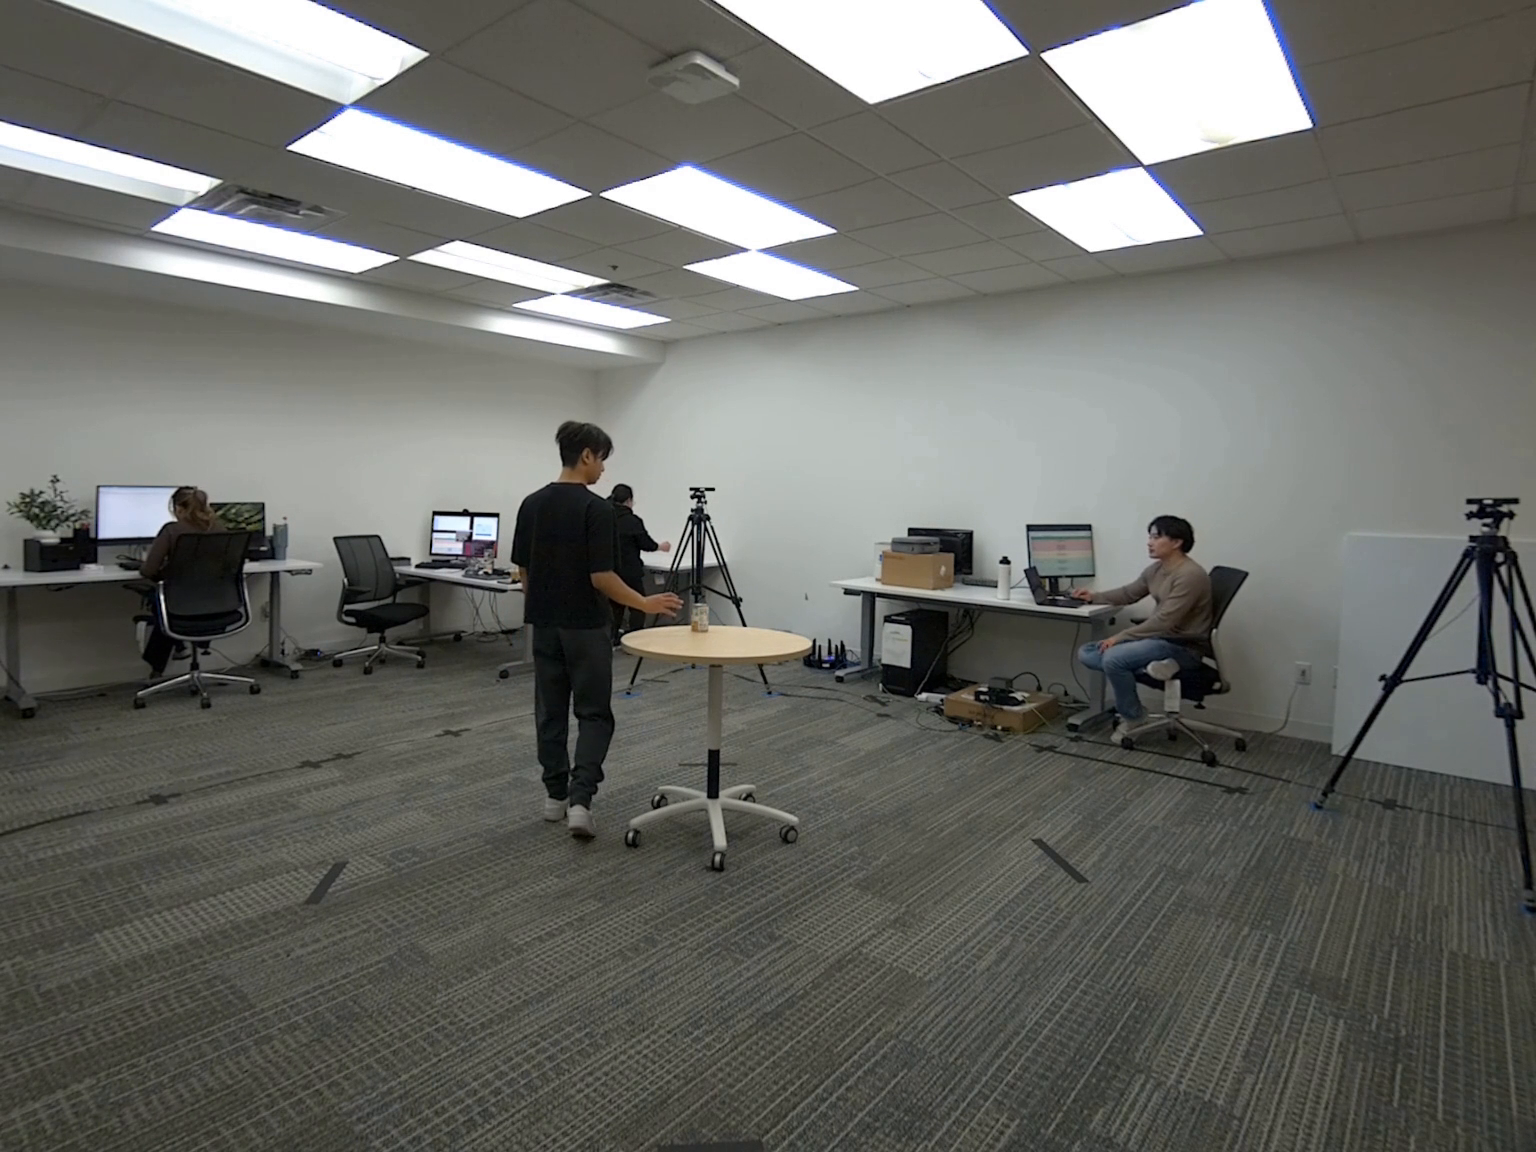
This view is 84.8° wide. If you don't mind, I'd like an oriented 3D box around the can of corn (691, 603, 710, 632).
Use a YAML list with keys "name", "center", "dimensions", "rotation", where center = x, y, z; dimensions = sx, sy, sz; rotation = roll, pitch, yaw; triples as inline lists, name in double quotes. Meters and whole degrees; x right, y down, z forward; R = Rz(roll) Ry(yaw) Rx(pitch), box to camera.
- name: "can of corn"
  center: [-0.308, 0.178, 3.644]
  dimensions: [0.074, 0.111, 0.074]
  rotation: [1, 2, -2]
